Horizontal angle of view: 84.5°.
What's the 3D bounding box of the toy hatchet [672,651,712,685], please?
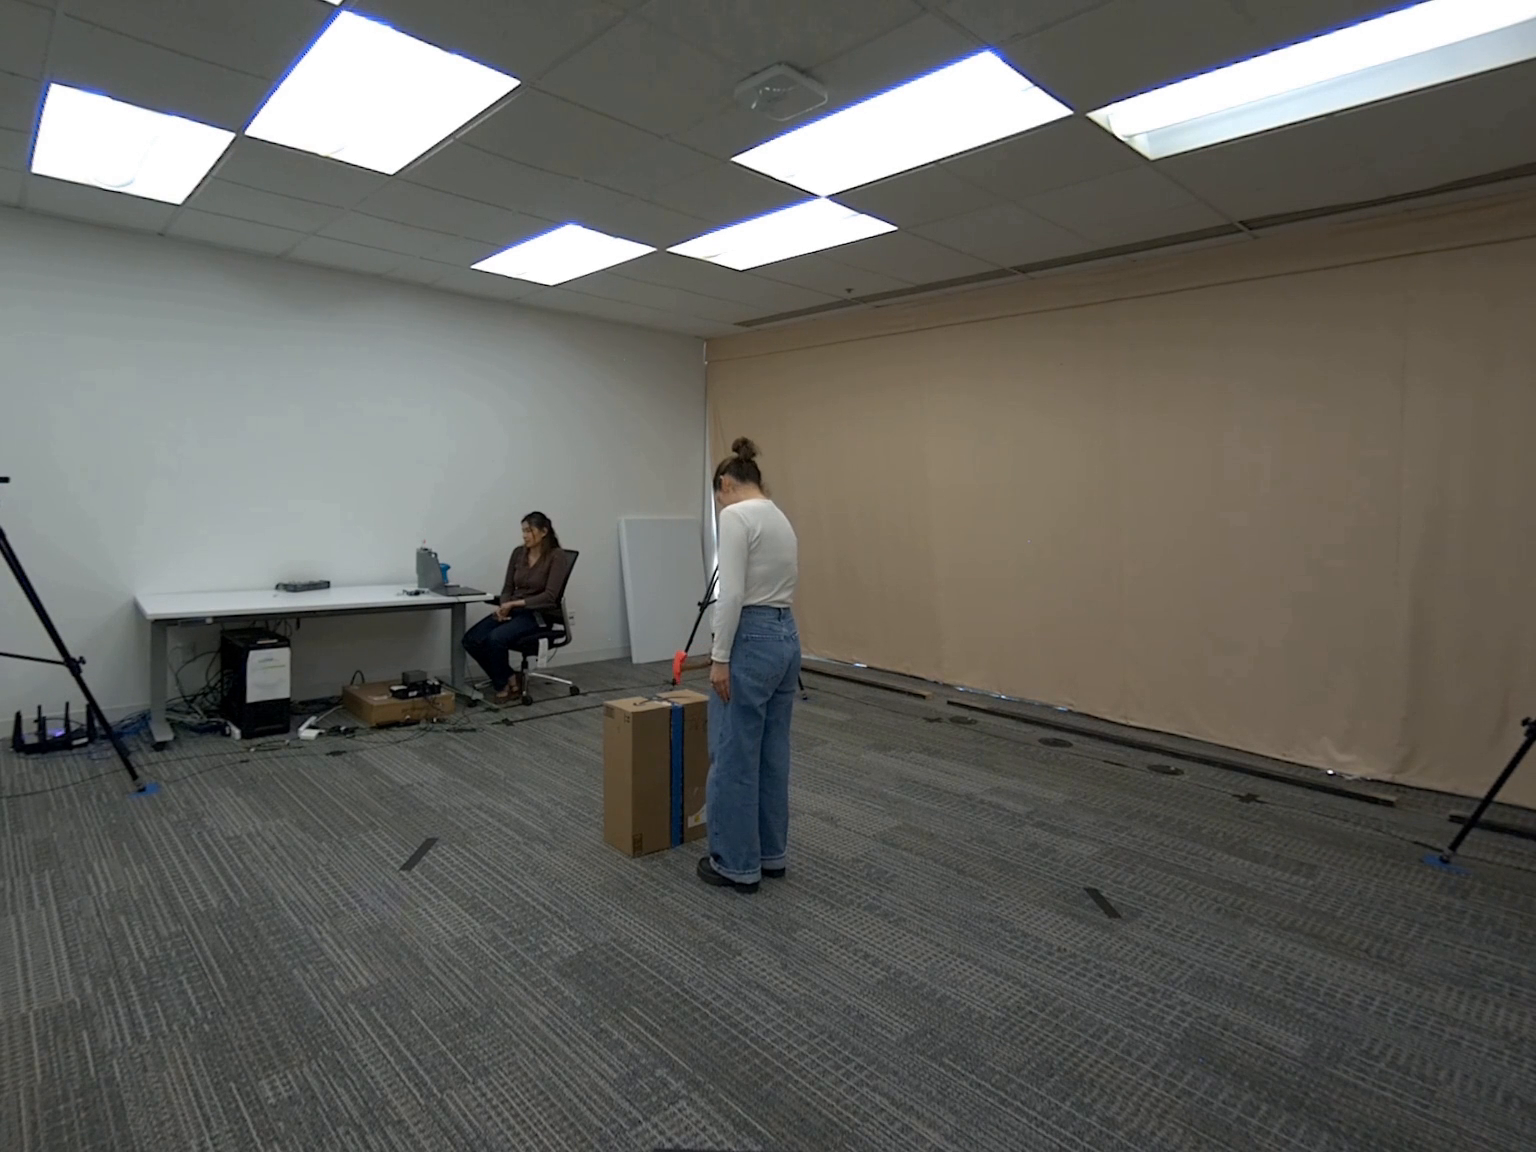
[{"bbox_3d":[-0.307,0.340,3.485,0.272,0.134,0.029,-32,-28,35],"label":"toy hatchet"}]
